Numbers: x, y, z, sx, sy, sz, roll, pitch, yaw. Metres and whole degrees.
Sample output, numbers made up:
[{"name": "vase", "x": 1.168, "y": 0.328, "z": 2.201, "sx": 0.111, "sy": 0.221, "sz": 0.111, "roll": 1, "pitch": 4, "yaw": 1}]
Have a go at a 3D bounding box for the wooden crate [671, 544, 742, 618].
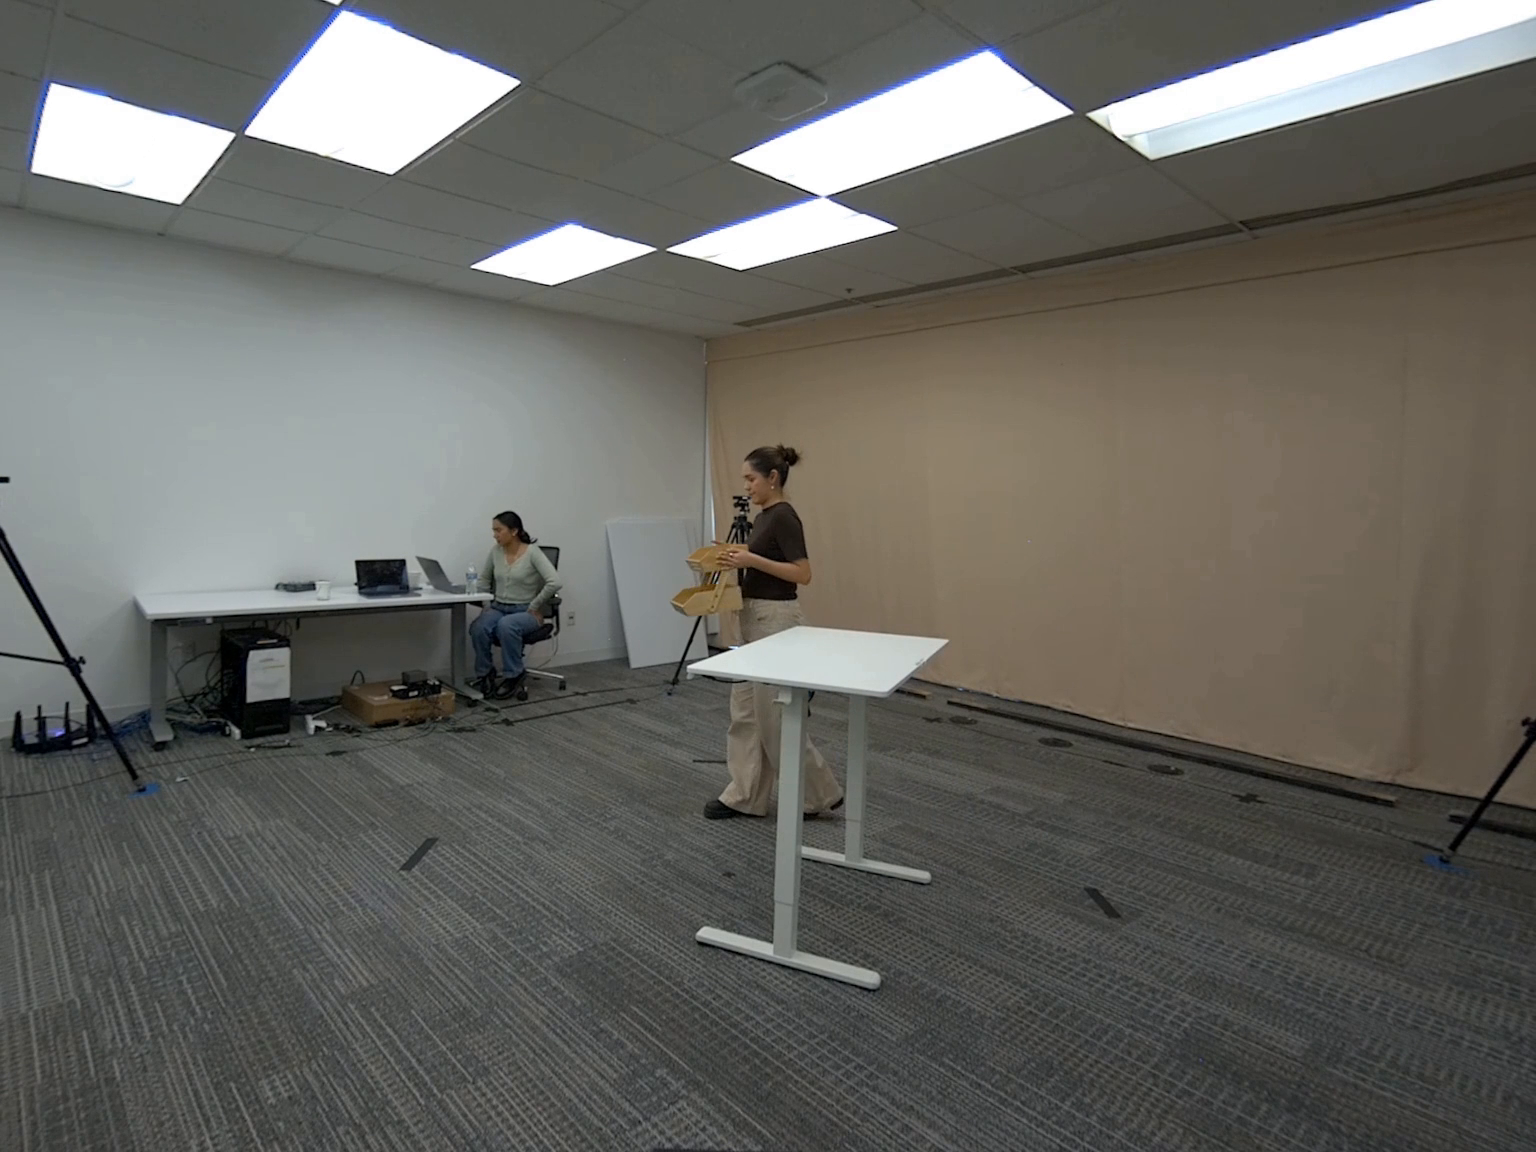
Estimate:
[{"name": "wooden crate", "x": -0.255, "y": 0.011, "z": 3.567, "sx": 0.299, "sy": 0.272, "sz": 0.328, "roll": -8, "pitch": 4, "yaw": -15}]
